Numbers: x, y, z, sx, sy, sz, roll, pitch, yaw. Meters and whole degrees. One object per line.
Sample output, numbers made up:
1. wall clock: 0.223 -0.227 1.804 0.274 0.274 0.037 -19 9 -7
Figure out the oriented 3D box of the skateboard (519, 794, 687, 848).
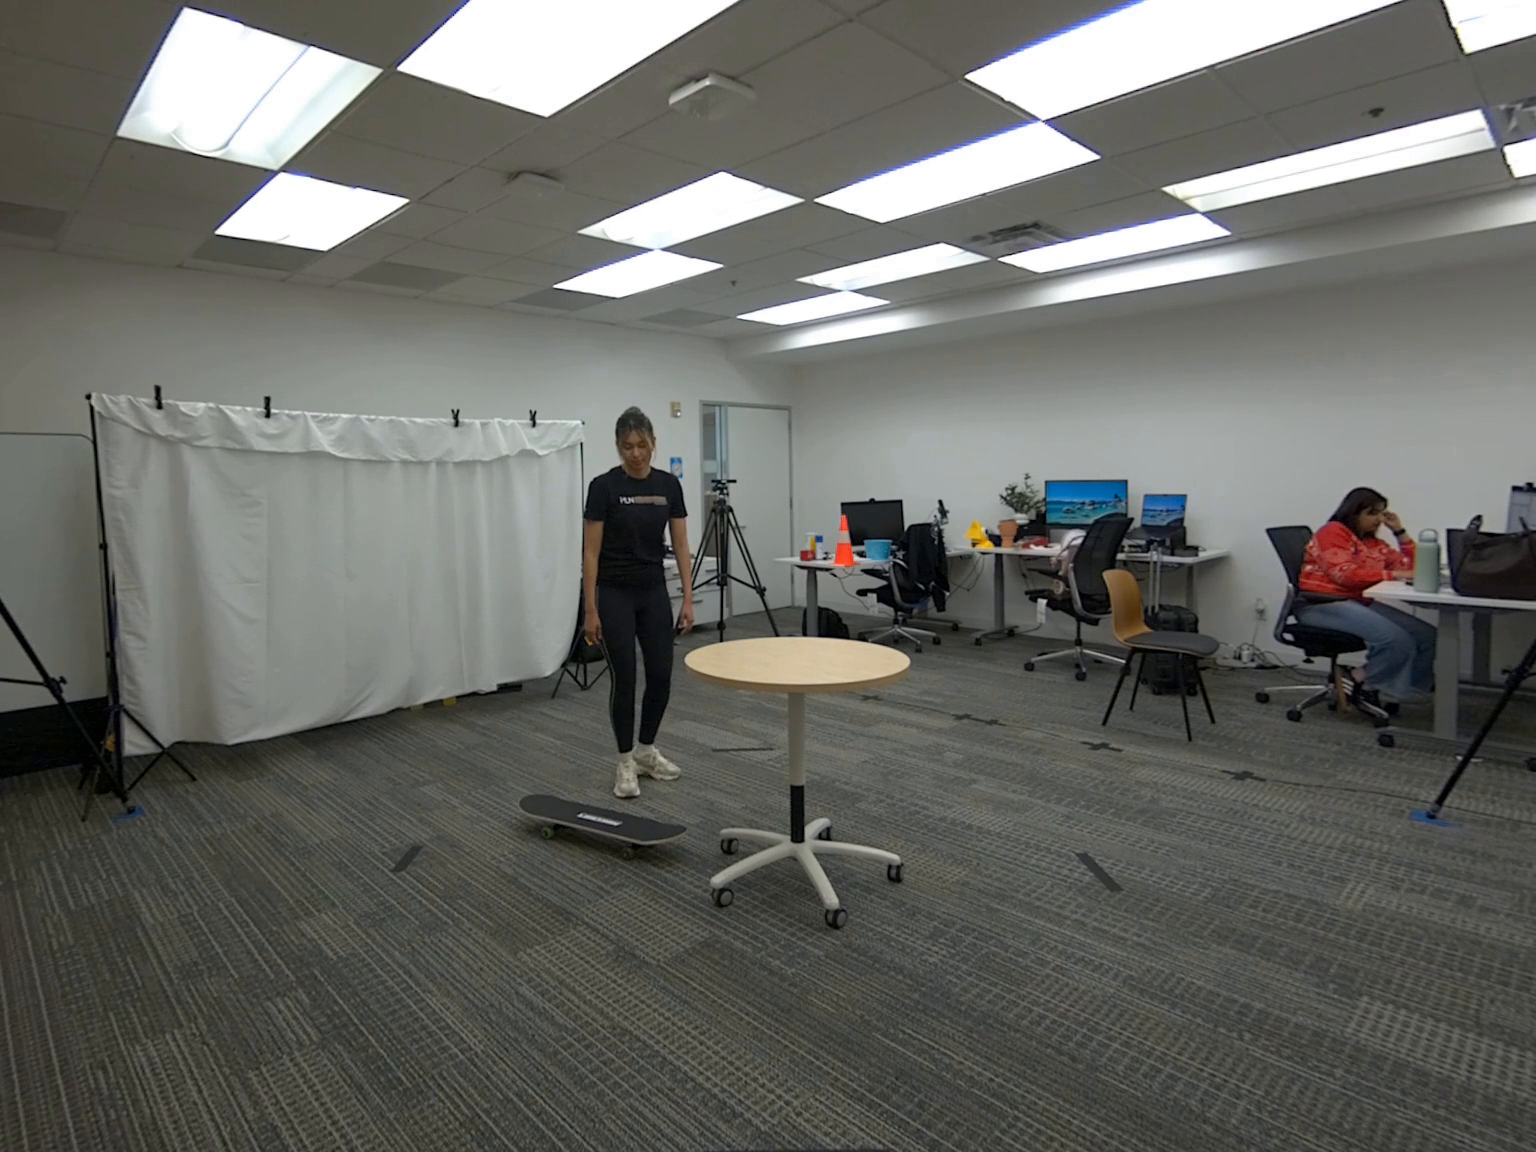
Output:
1. skateboard: -0.657 0.984 3.329 0.806 0.110 0.189 2 6 31
